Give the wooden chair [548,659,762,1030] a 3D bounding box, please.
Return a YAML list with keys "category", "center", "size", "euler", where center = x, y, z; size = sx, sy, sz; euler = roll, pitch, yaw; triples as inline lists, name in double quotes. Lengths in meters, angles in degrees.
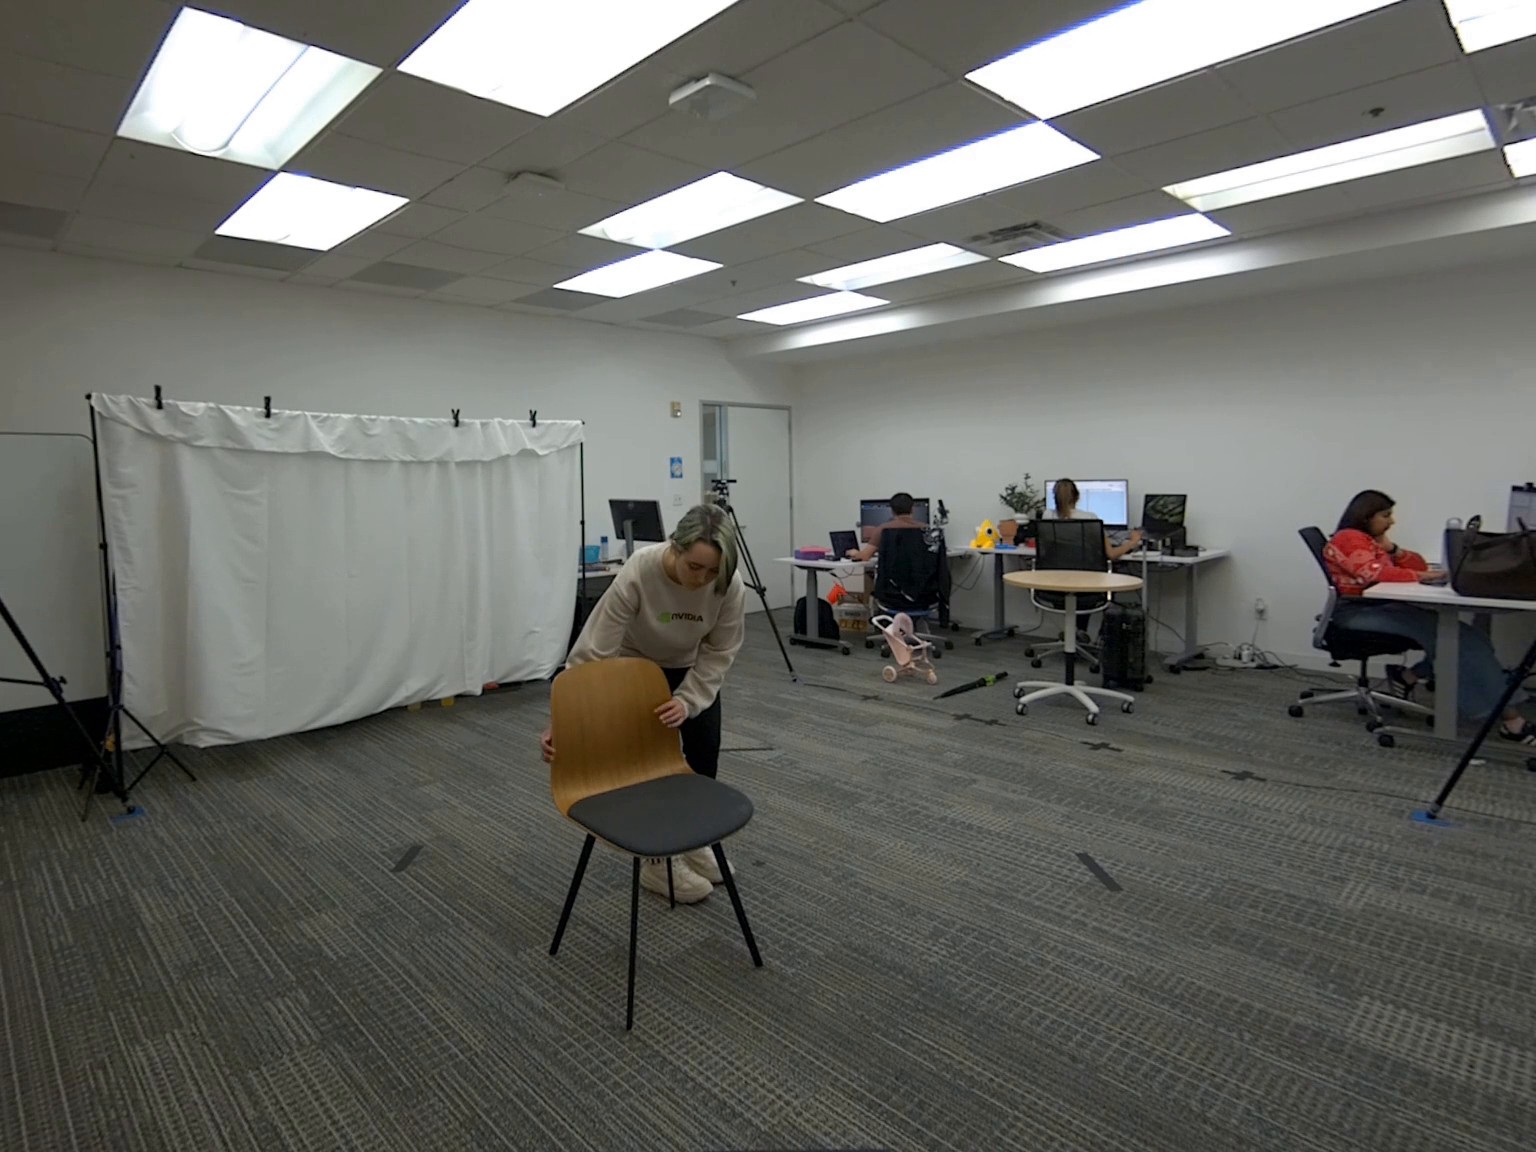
- category: "wooden chair"
  center: [-0.337, 0.706, 2.453]
  size: [0.465, 0.877, 0.537]
  euler: [-4, 2, -39]
